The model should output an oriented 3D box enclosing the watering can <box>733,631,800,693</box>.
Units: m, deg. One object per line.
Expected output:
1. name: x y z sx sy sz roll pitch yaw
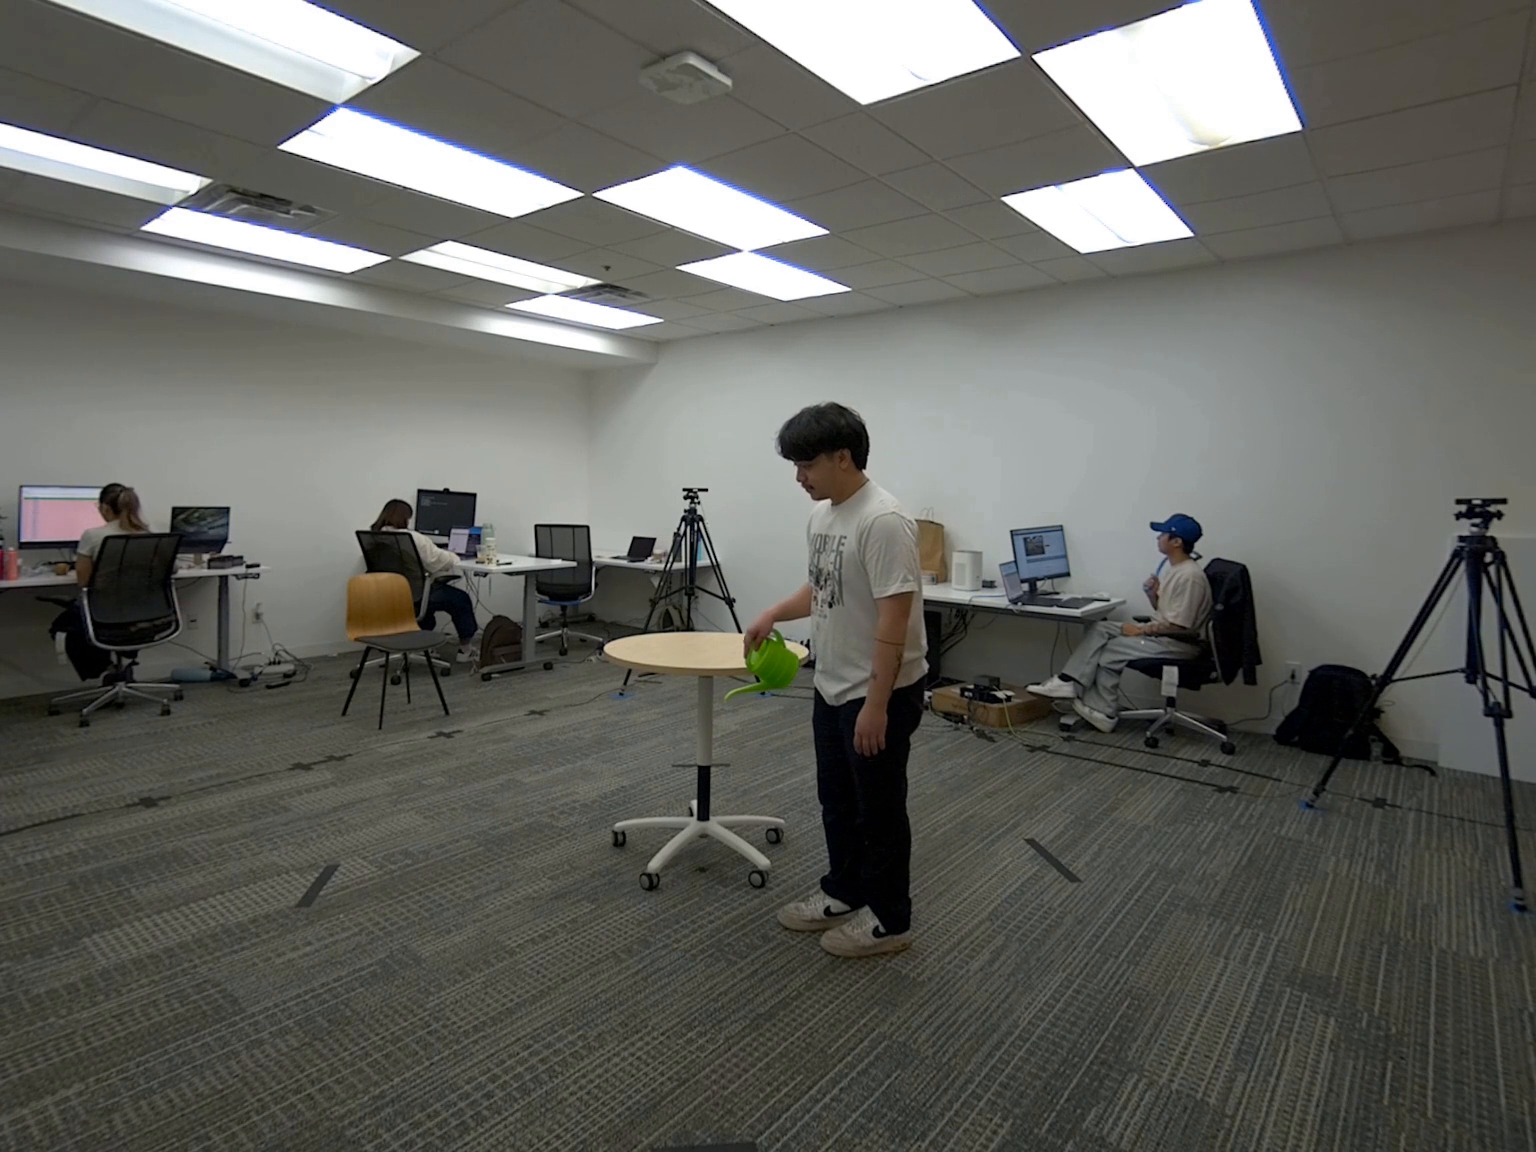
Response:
1. watering can: -0.028 0.304 2.732 0.171 0.278 0.101 37 -5 -27
